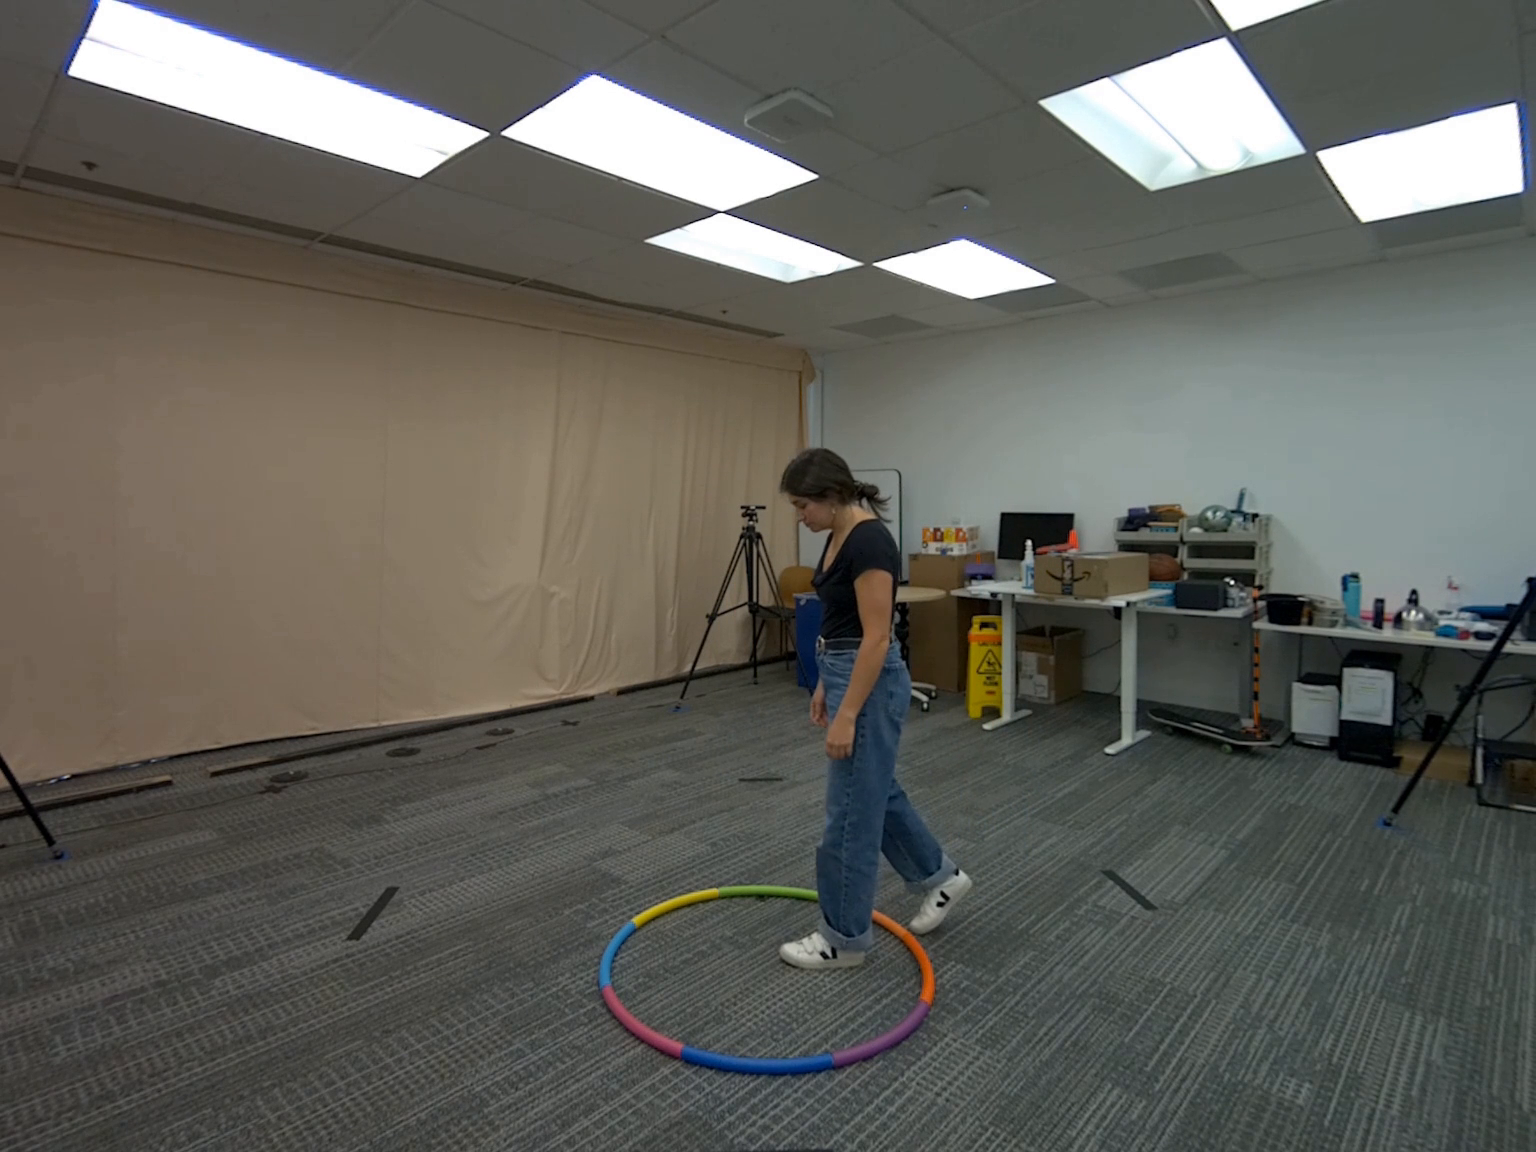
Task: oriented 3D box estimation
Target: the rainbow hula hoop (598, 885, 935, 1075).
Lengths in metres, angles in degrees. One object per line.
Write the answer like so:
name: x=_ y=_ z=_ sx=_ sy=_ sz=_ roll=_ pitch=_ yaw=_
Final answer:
rainbow hula hoop: x=0.000 y=1.151 z=2.543 sx=0.978 sy=0.035 sz=0.982 roll=0 pitch=4 yaw=-2
